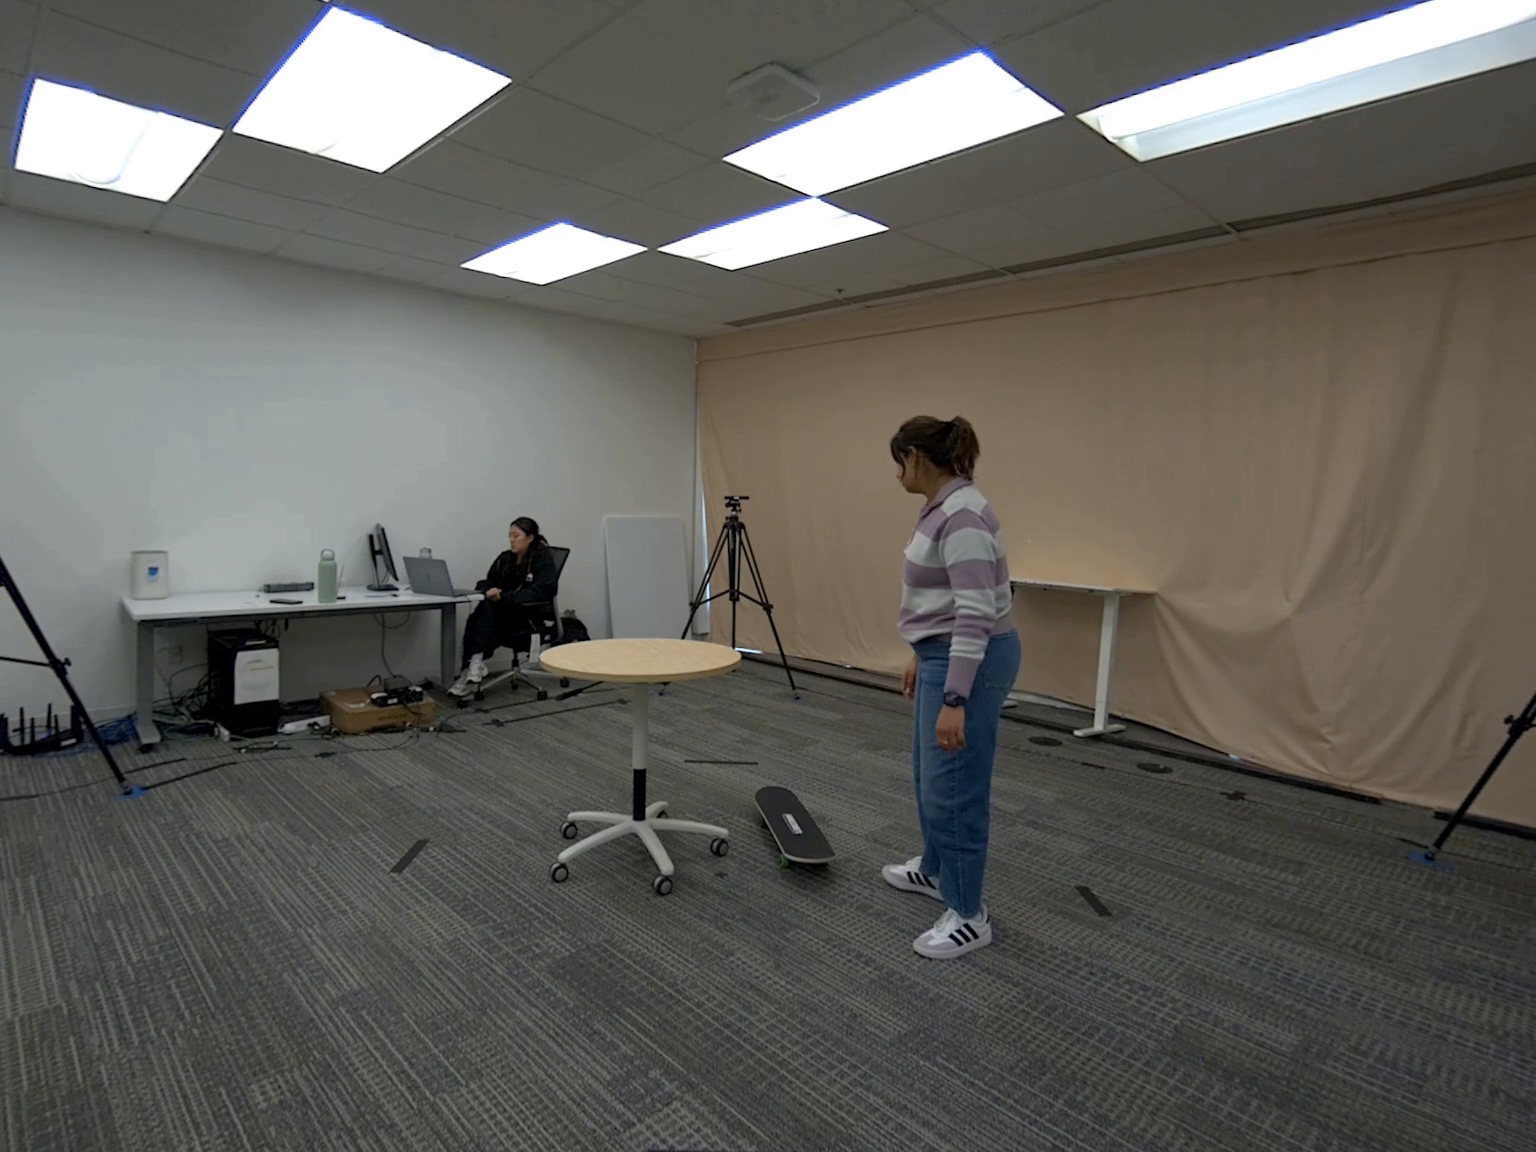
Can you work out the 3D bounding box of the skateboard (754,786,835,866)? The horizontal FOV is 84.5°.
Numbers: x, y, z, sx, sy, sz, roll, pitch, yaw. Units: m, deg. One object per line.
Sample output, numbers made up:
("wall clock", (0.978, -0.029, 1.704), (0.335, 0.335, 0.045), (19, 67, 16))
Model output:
("skateboard", (0.082, 1.026, 3.387), (0.192, 0.110, 0.794), (0, 5, -11))
